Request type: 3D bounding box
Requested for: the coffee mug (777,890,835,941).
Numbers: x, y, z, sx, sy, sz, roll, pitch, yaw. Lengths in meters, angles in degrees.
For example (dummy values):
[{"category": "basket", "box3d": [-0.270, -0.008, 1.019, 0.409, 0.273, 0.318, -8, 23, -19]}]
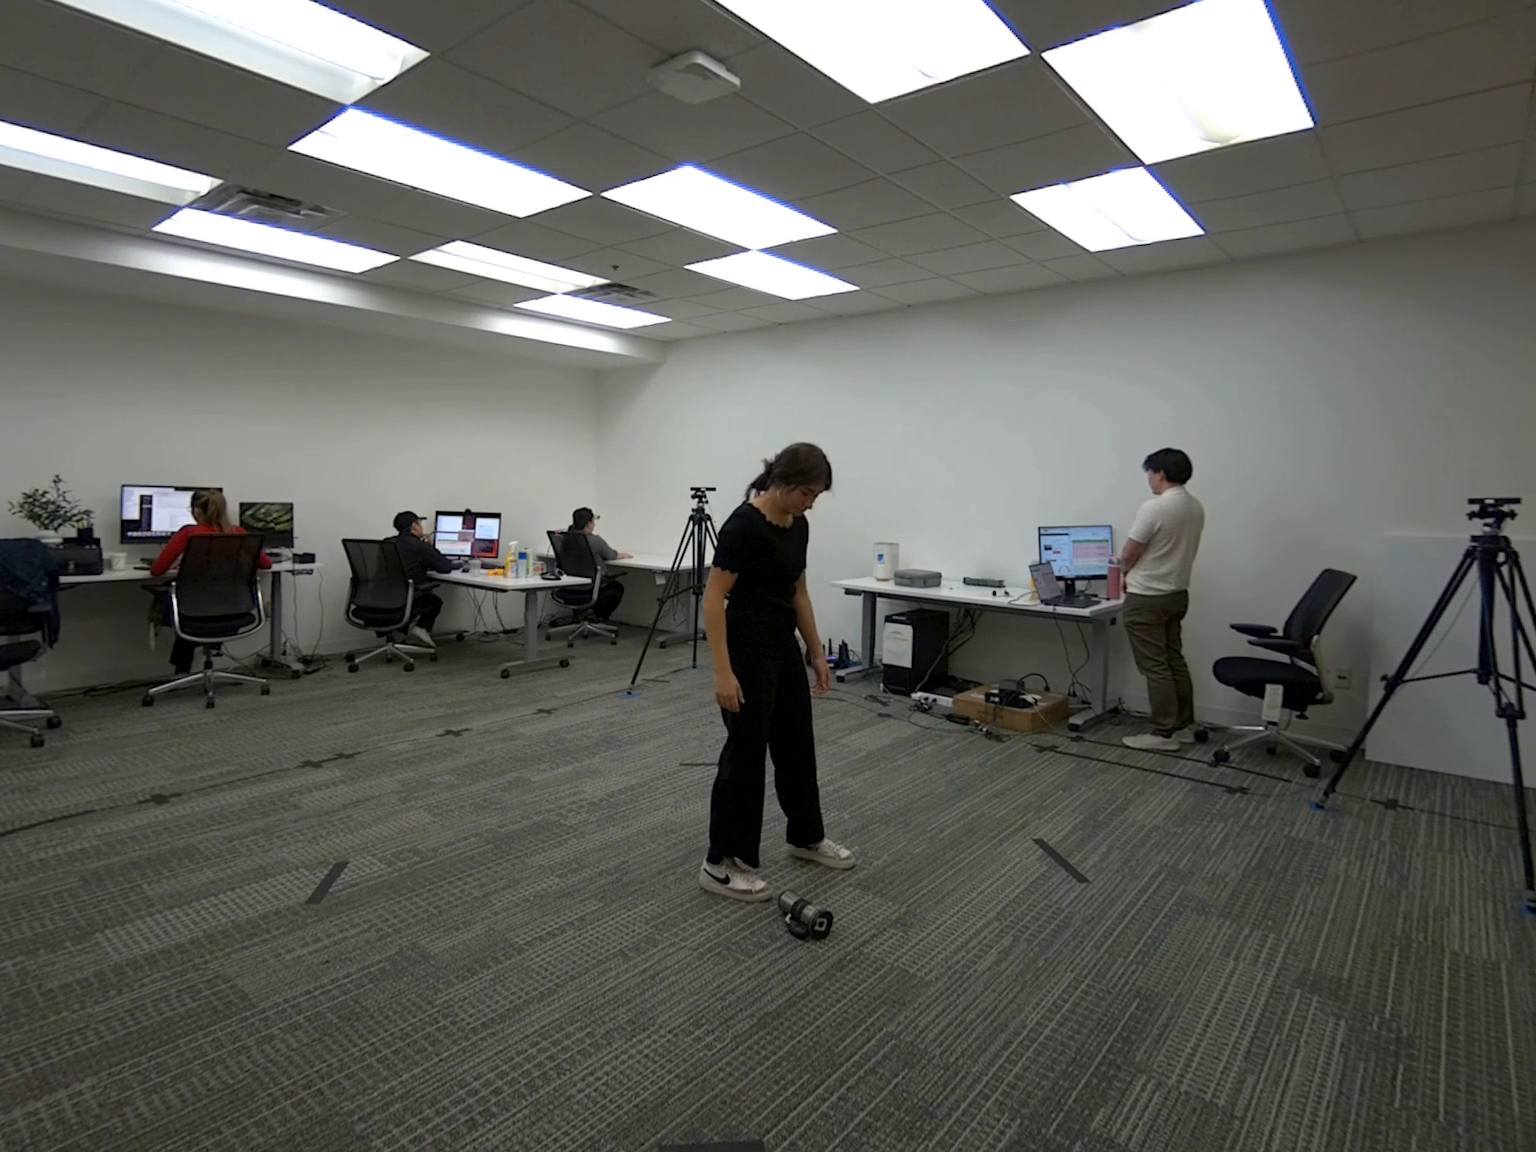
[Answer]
[{"category": "coffee mug", "box3d": [0.093, 1.067, 2.706, 0.118, 0.088, 0.210, 10, -1, -36]}]
